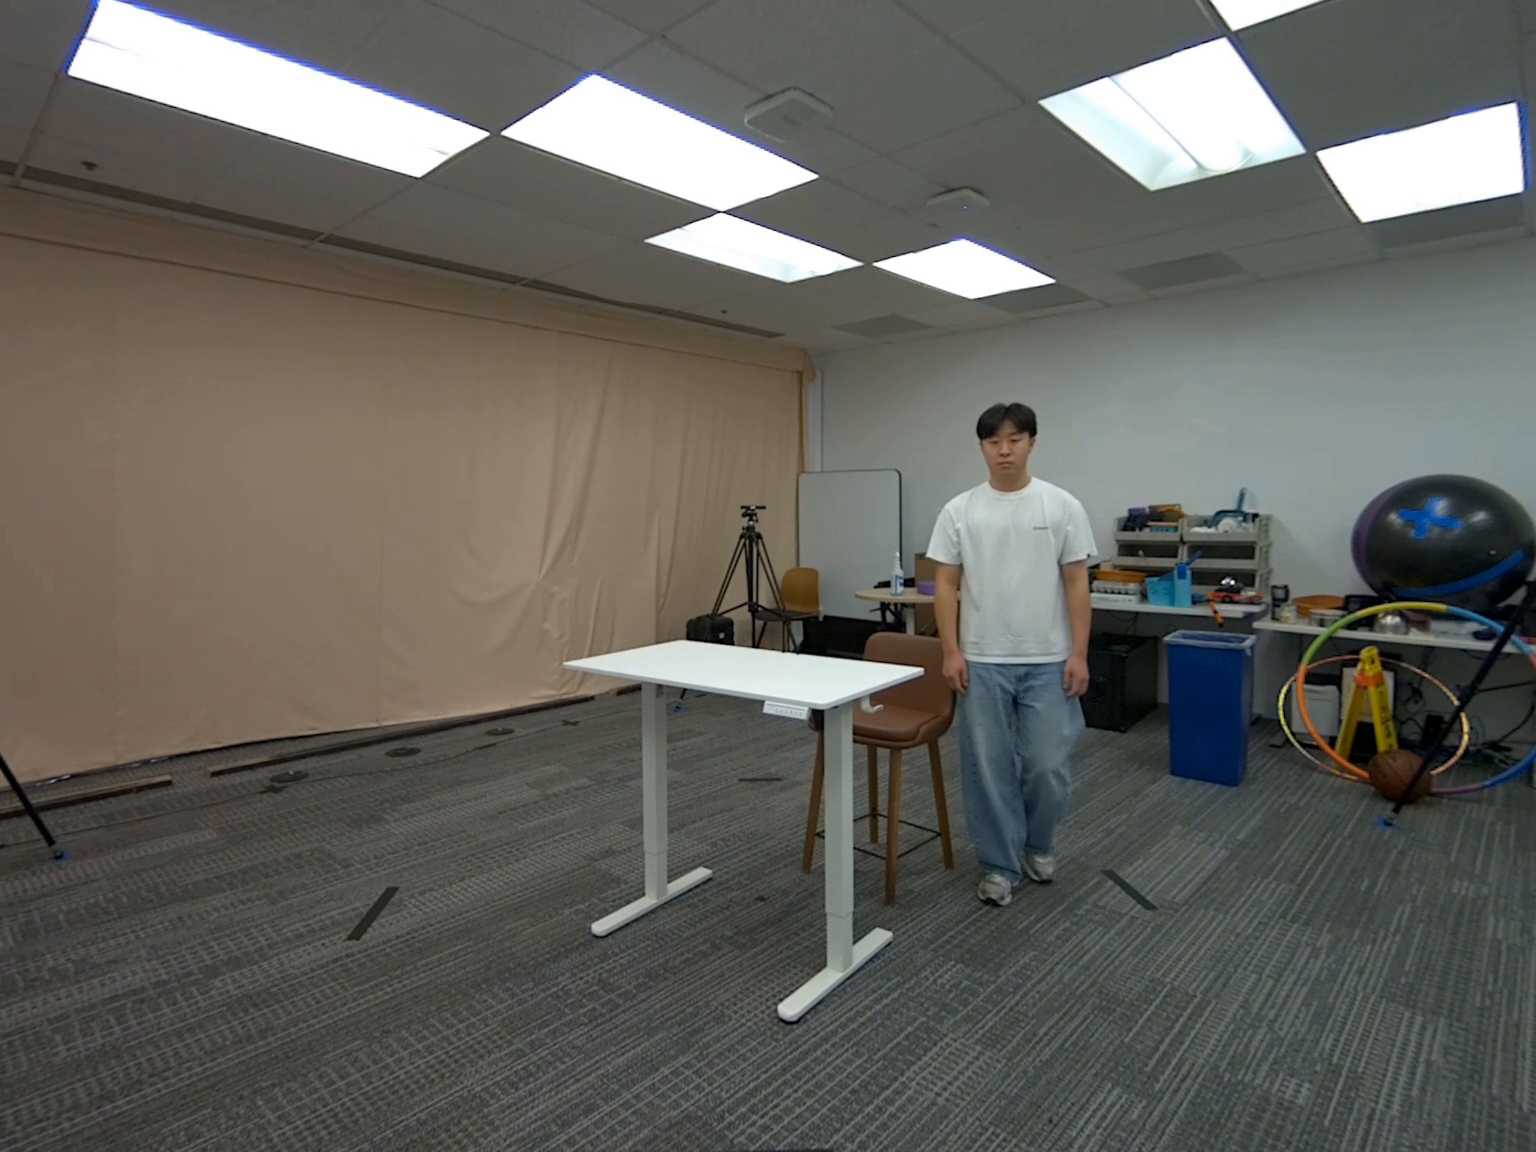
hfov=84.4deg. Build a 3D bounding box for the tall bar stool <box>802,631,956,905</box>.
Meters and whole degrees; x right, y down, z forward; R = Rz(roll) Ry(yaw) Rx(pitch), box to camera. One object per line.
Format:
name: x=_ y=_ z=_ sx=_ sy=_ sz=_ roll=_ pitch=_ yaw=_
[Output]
tall bar stool: x=0.432 y=0.685 z=3.195 sx=0.472 sy=0.889 sz=0.453 roll=3 pitch=2 yaw=43
